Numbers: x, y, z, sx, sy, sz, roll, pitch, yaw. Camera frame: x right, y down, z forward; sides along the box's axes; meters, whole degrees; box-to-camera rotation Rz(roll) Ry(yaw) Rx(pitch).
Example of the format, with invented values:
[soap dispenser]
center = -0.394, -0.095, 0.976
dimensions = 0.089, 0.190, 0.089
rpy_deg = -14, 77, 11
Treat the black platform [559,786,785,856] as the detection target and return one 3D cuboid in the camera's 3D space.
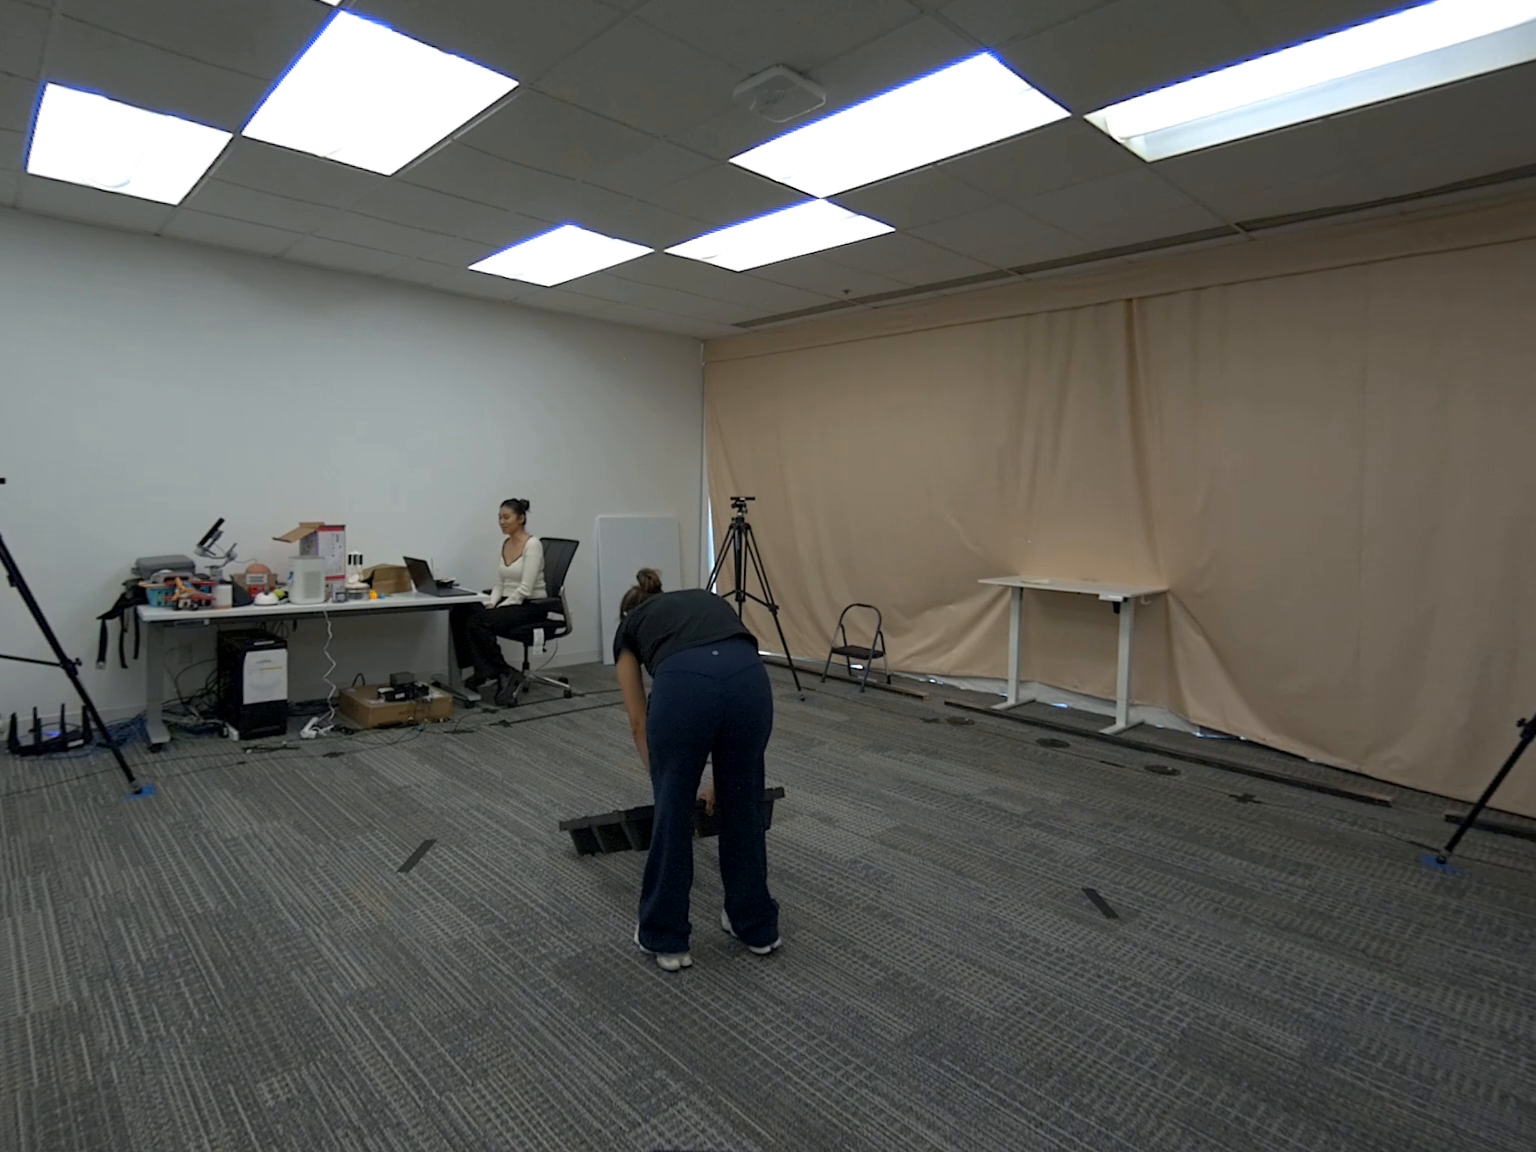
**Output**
[black platform]
center = -0.369, 0.912, 3.055
dimensions = 0.593, 0.145, 0.810
rpy_deg = 0, -17, -28
